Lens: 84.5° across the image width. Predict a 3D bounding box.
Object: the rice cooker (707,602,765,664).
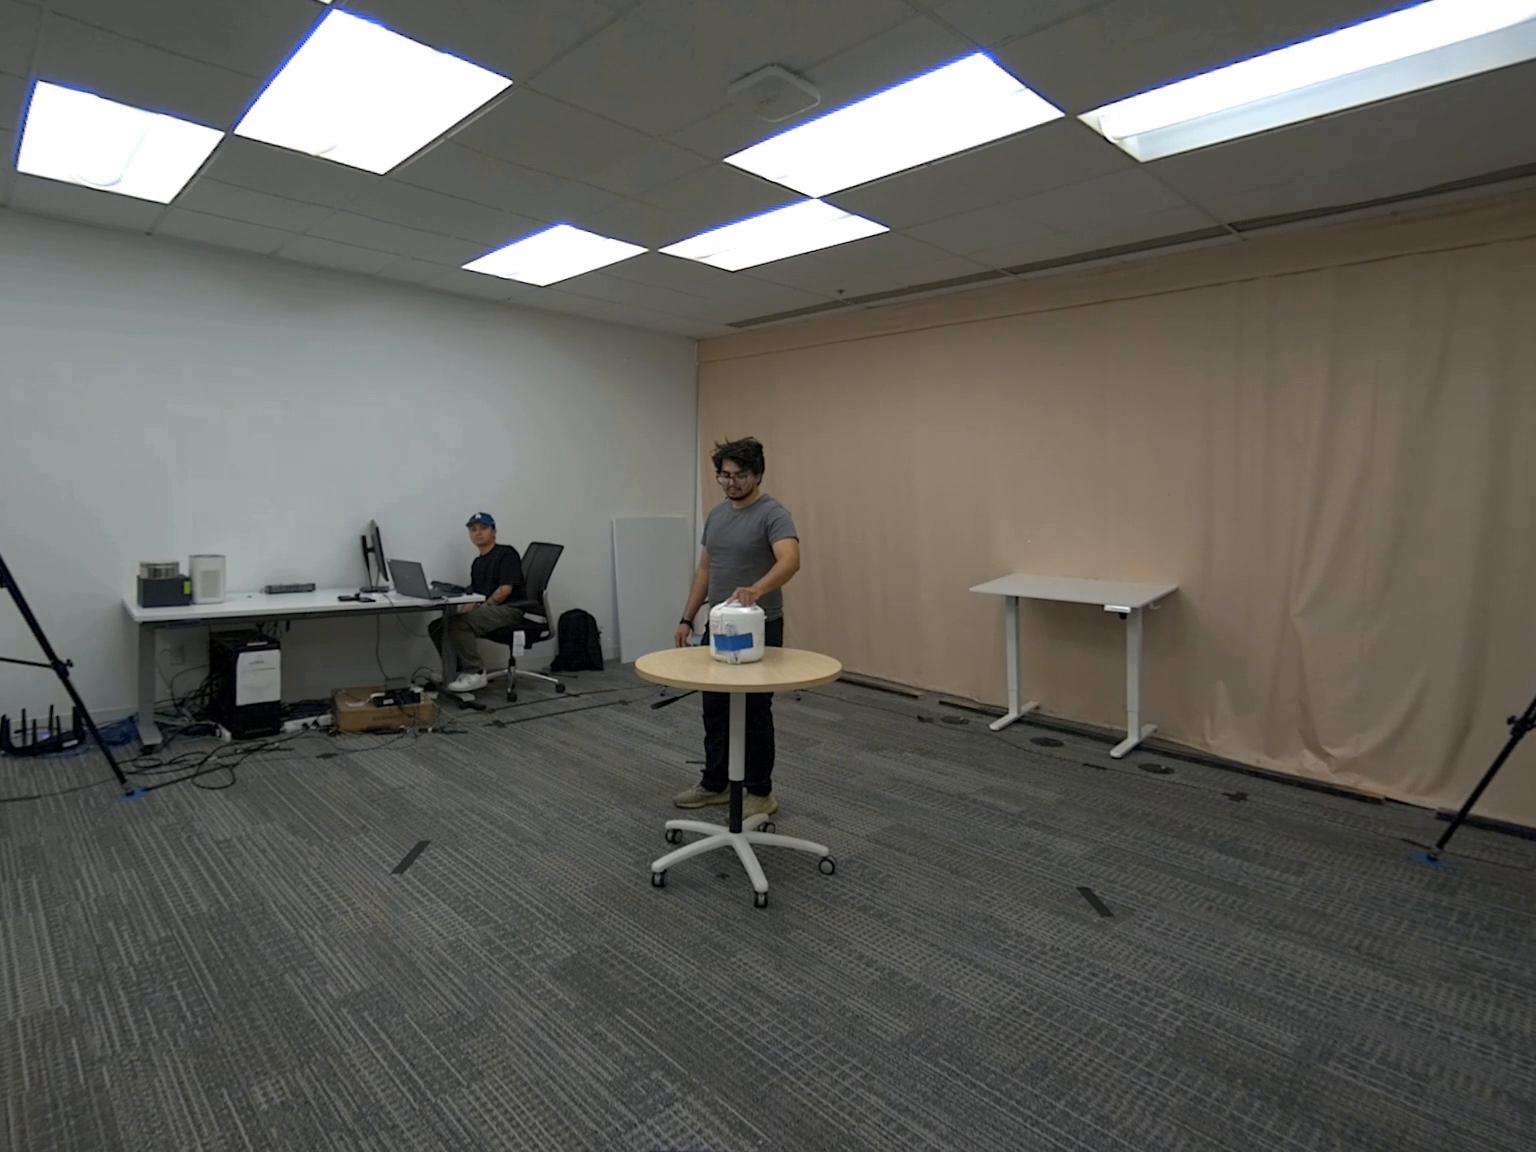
[{"bbox_3d":[-0.130,0.202,3.190,0.216,0.232,0.223,-1,5,-36],"label":"rice cooker"}]
